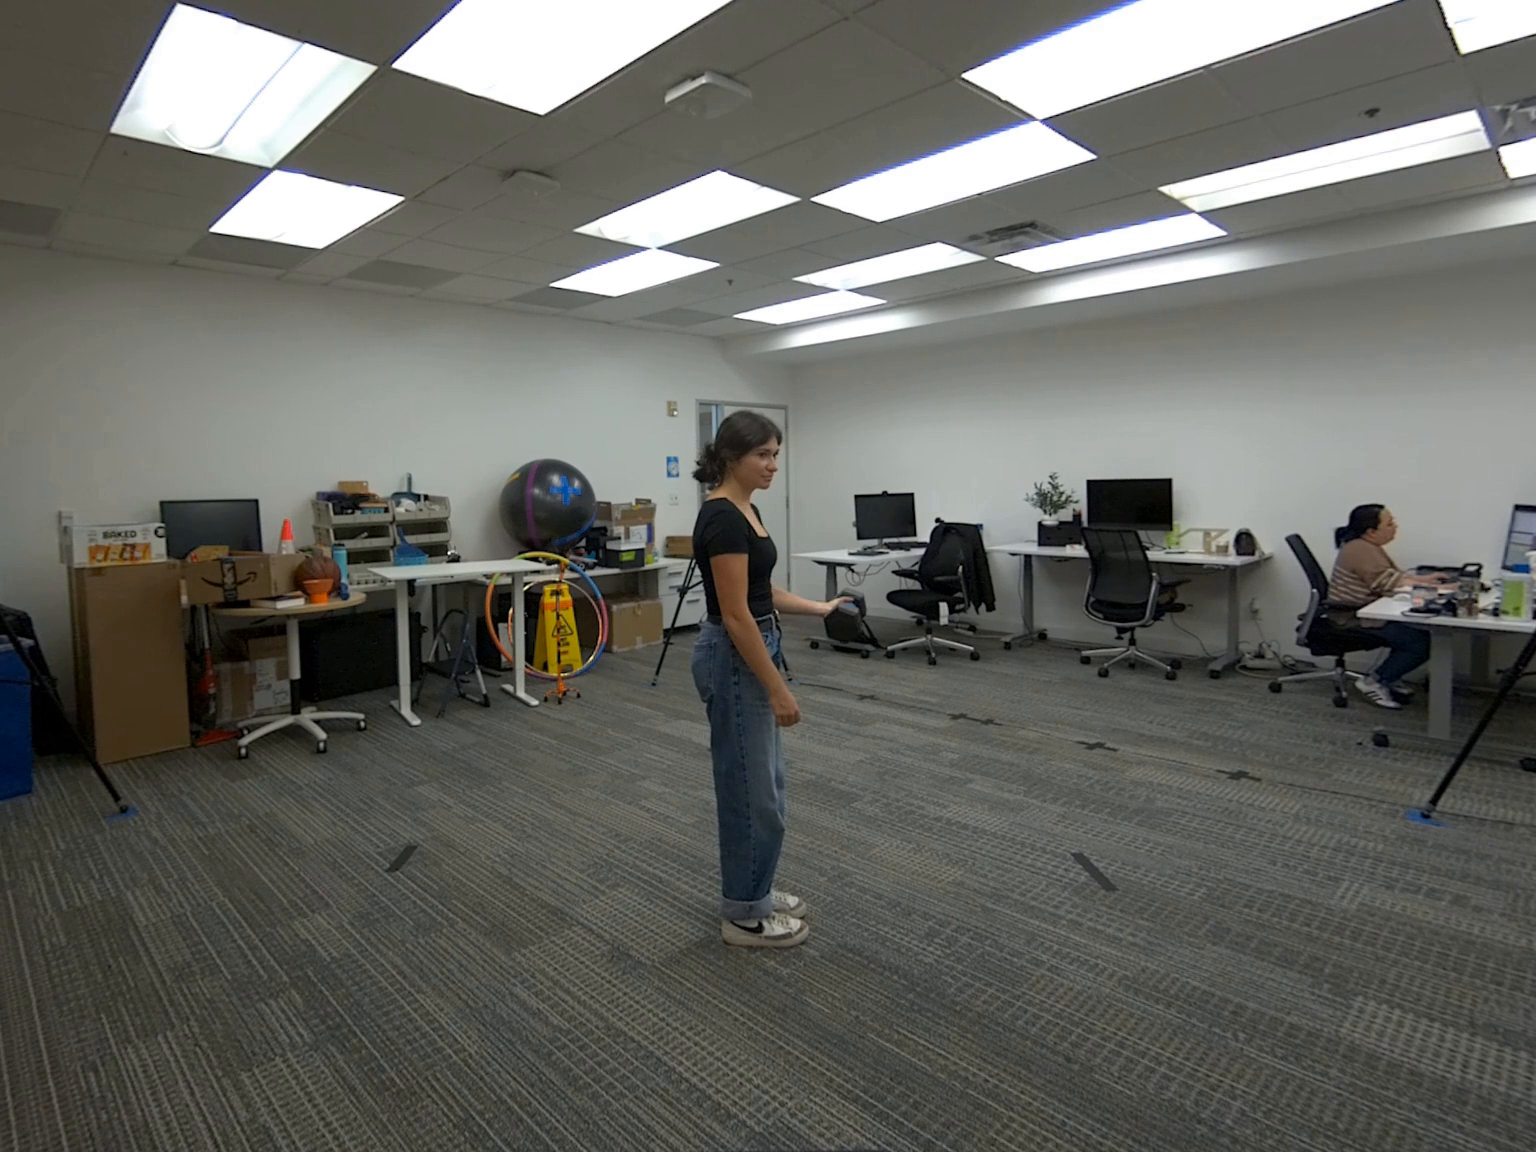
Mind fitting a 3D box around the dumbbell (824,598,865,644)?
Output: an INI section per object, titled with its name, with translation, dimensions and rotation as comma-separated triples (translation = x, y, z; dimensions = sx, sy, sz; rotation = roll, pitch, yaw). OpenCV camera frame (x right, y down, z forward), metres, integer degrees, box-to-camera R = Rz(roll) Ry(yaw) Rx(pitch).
[dumbbell]
translation = 0.243, 0.119, 2.740
dimensions = 0.124, 0.108, 0.292
rotation = 19, 15, 7
